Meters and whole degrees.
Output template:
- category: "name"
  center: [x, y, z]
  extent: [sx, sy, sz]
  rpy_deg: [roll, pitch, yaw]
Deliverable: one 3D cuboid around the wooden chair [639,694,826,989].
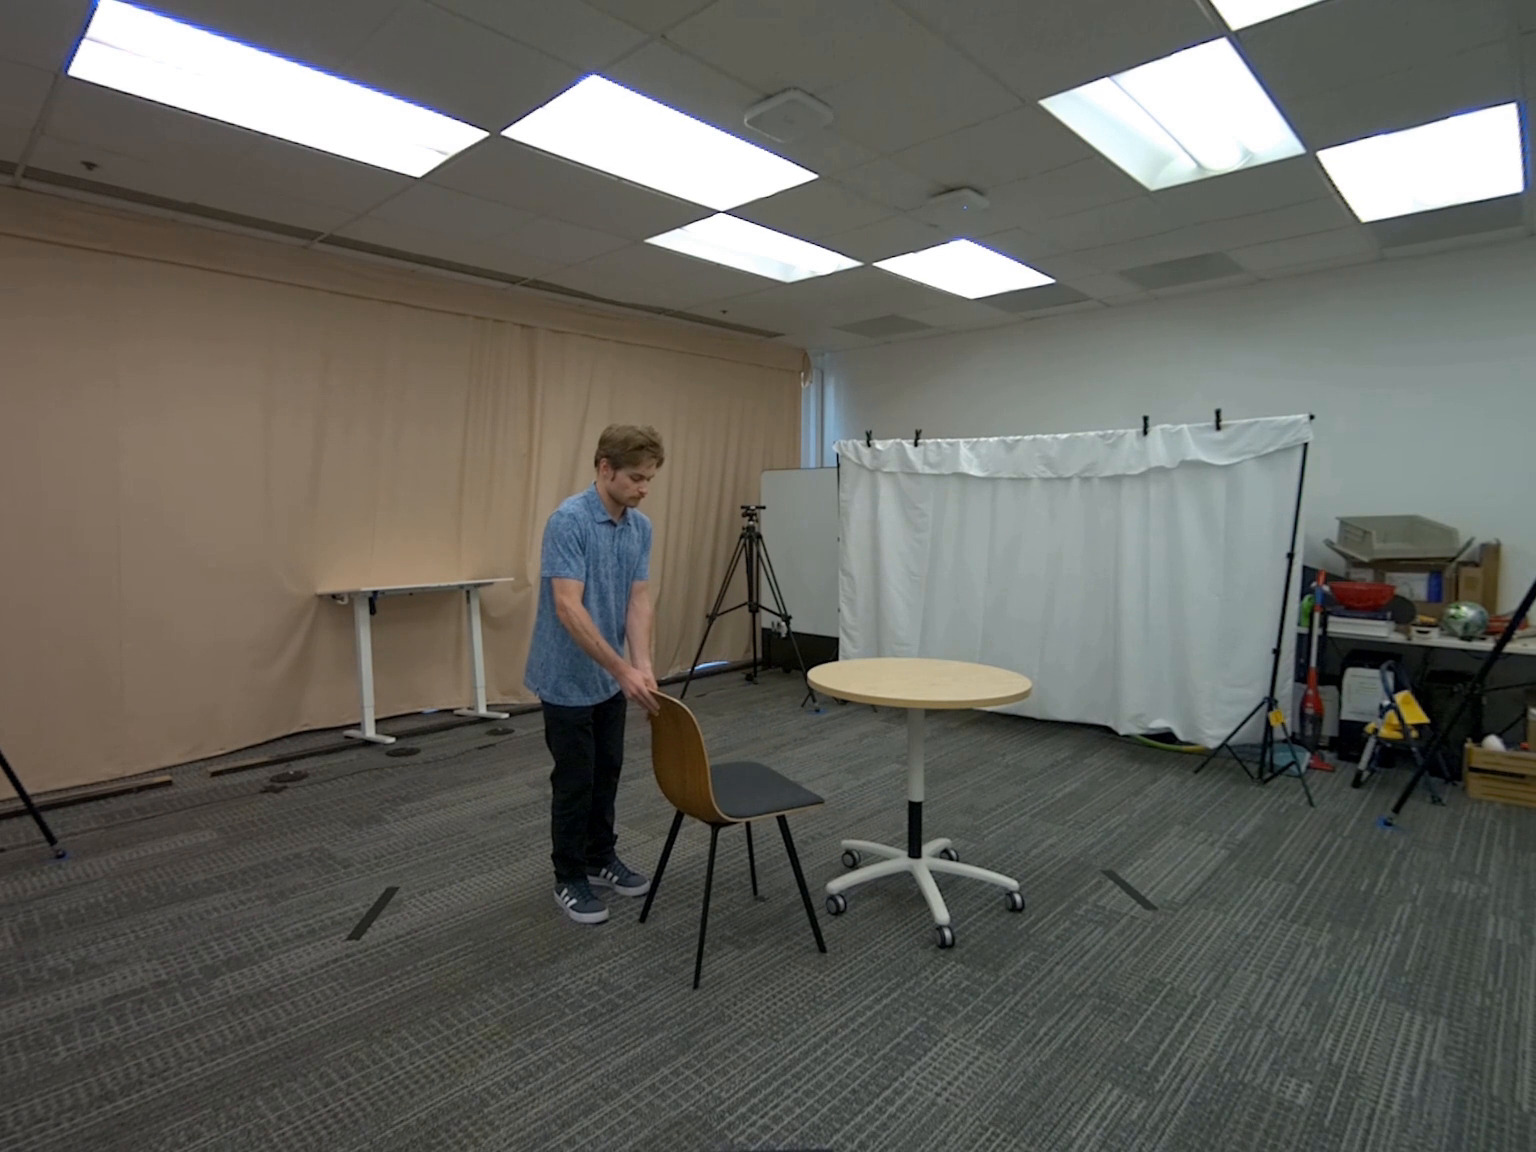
- category: "wooden chair"
  center: [-0.114, 0.743, 2.697]
  extent: [0.510, 0.874, 0.491]
  rpy_deg: [-7, 5, -28]
